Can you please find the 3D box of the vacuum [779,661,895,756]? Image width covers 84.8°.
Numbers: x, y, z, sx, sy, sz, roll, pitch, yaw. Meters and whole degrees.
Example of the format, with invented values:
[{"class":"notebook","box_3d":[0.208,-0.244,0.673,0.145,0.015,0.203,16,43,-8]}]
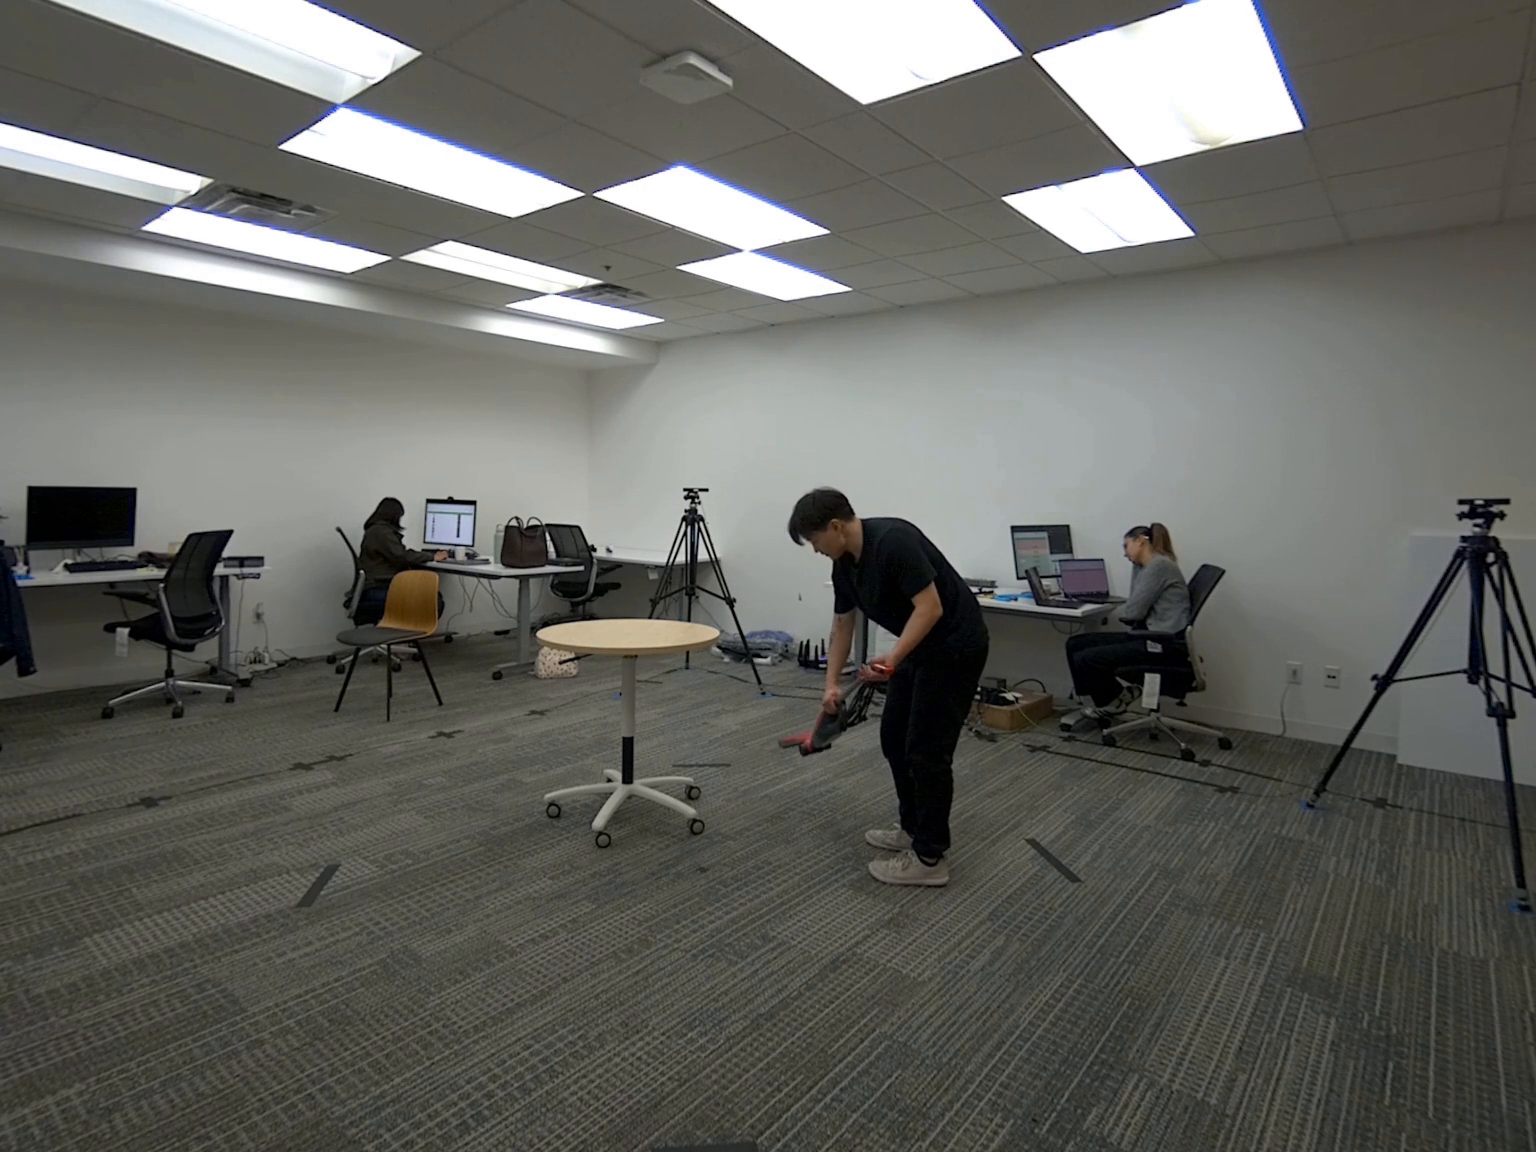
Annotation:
[{"class":"vacuum","box_3d":[0.279,0.518,3.252,0.249,0.147,1.037,-14,-20,-19]}]
